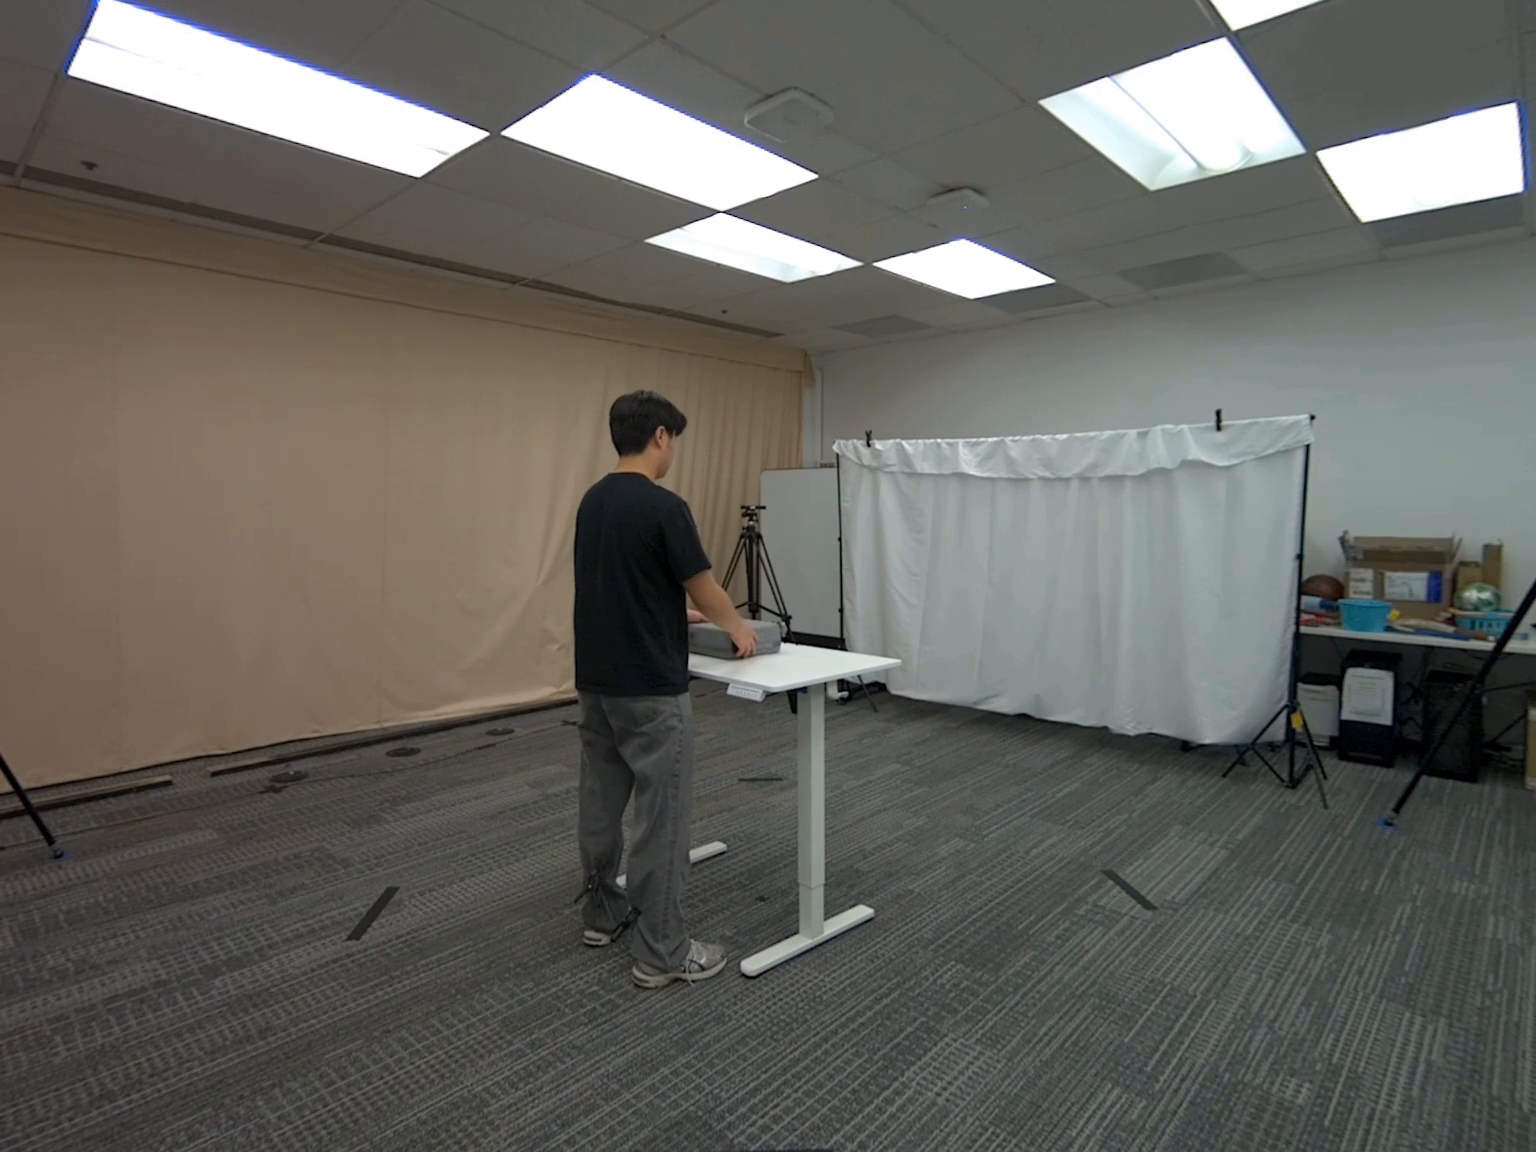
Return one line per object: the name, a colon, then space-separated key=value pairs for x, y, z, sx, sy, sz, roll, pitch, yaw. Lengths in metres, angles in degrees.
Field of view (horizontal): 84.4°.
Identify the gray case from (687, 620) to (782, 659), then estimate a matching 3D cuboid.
gray case: x=-0.123 y=0.216 z=2.954 sx=0.255 sy=0.103 sz=0.296 roll=-4 pitch=5 yaw=-37
